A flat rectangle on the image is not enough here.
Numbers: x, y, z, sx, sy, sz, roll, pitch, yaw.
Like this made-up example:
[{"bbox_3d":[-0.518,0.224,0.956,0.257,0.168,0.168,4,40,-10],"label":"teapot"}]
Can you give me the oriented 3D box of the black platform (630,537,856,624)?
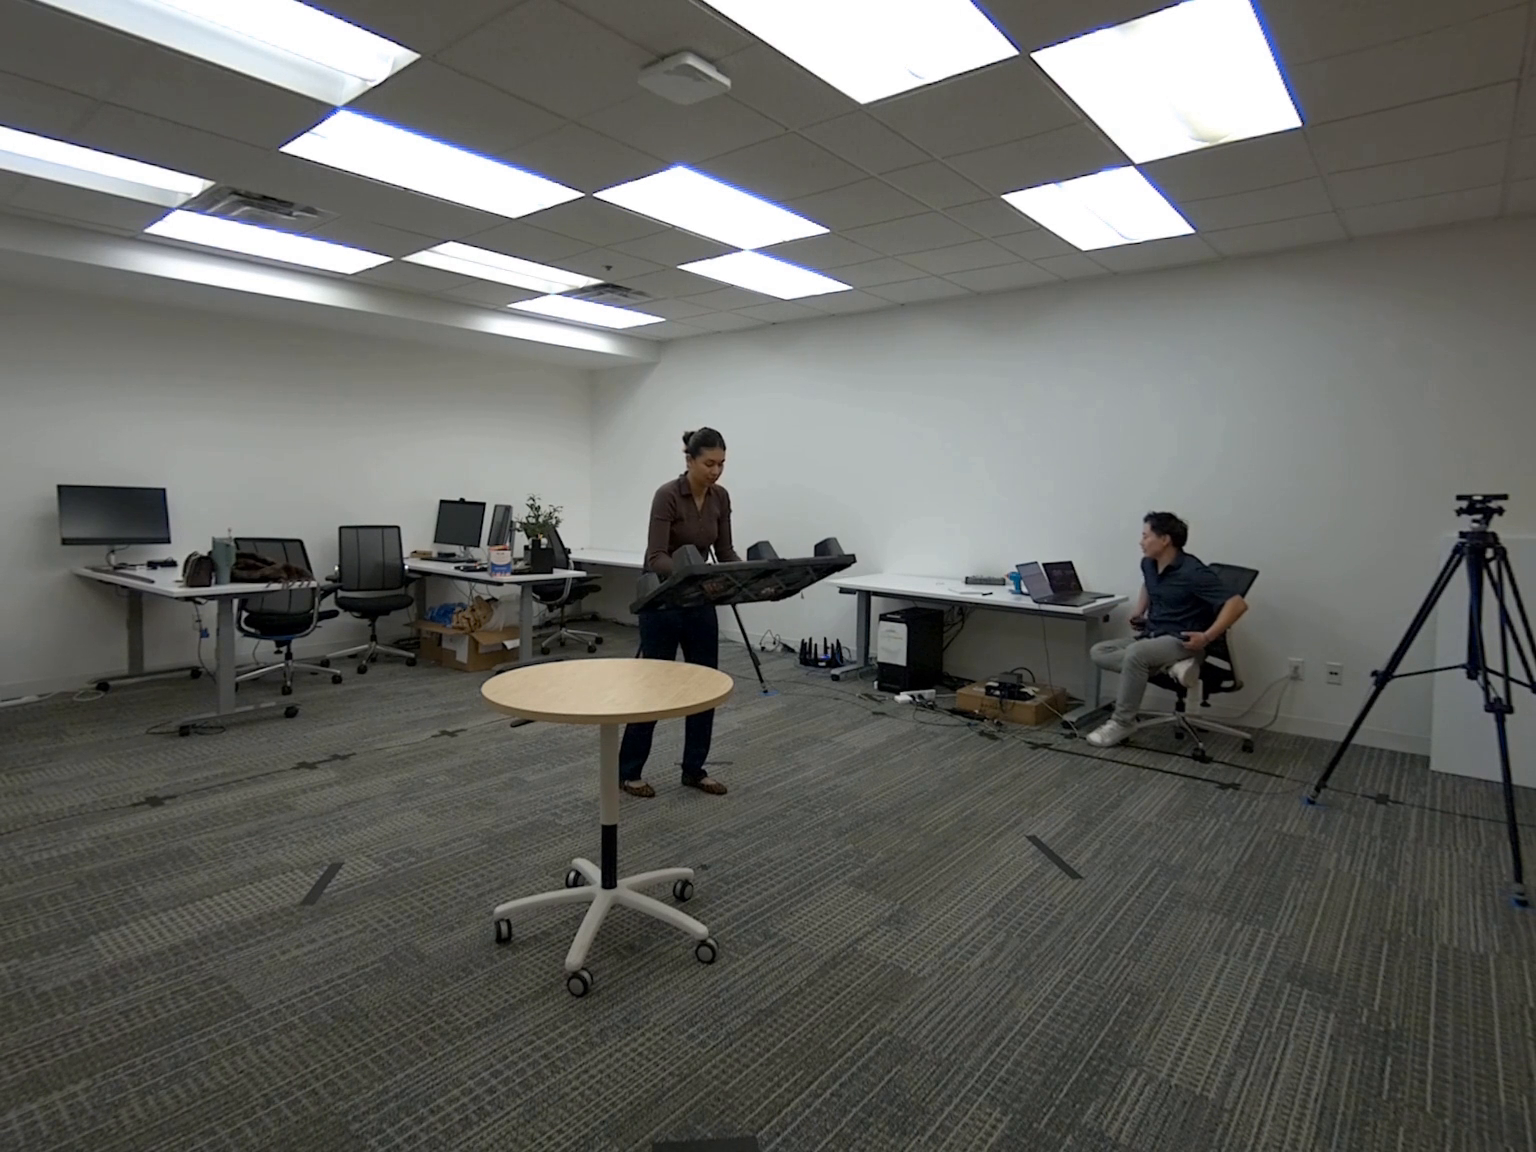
[{"bbox_3d":[-0.132,-0.009,3.593,0.784,0.145,0.611,-4,-14,-32],"label":"black platform"}]
